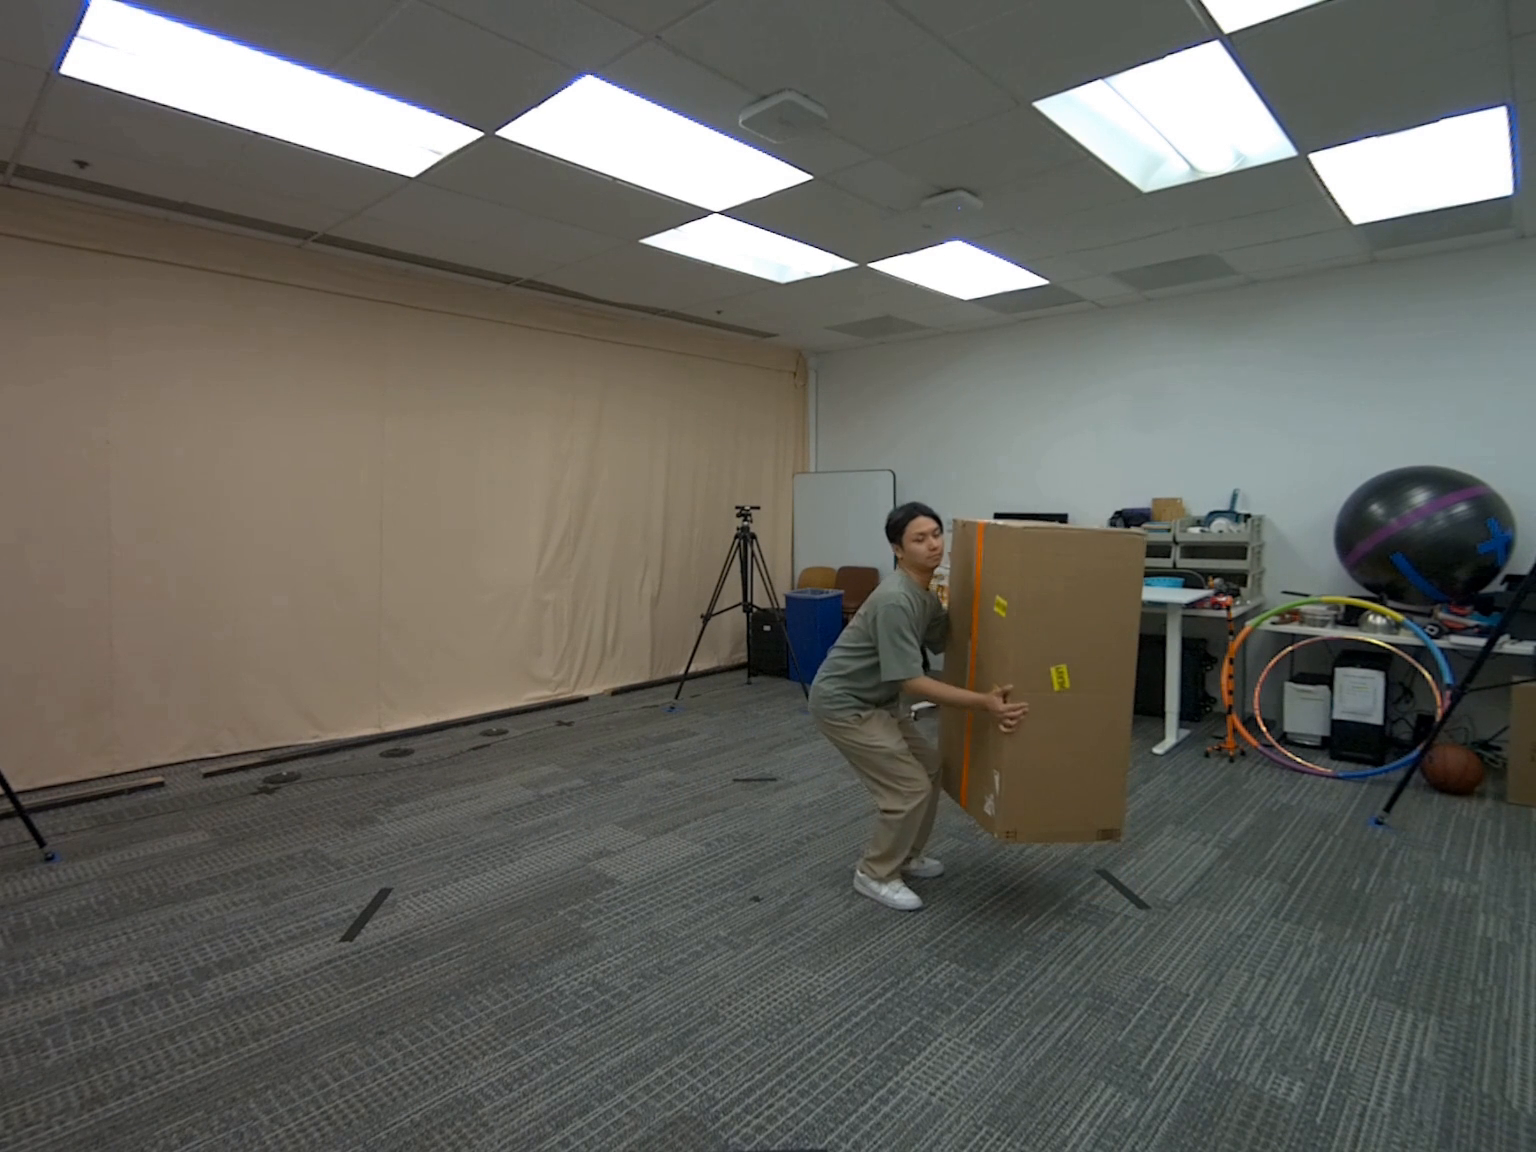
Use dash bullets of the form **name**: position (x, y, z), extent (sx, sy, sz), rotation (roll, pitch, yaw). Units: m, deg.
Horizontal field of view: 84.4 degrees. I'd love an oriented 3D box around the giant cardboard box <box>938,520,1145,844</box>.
- **giant cardboard box**: position (0.933, 0.329, 2.961), extent (0.423, 1.023, 0.583), rotation (2, 5, -7)
